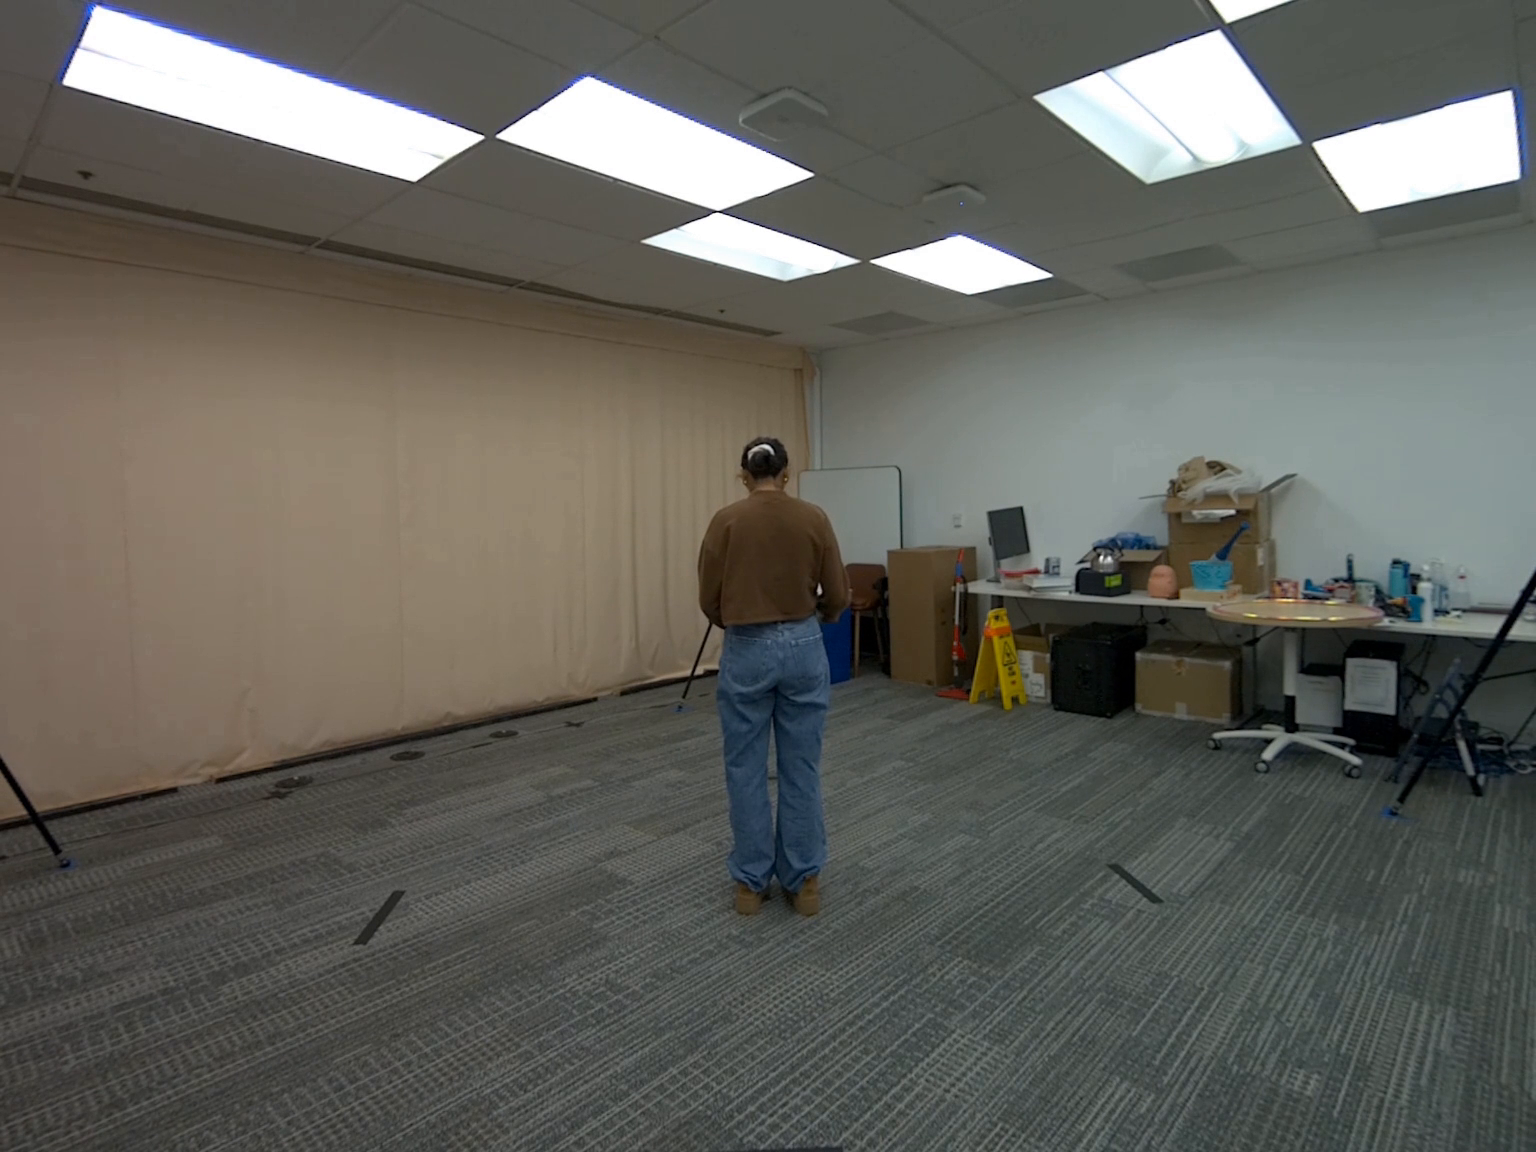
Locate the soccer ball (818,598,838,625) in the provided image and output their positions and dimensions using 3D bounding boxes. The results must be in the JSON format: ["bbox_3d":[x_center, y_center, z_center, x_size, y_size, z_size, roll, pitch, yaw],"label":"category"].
[{"bbox_3d":[0.142,0.091,3.079,0.187,0.187,0.188,-1,4,-2],"label":"soccer ball"}]
